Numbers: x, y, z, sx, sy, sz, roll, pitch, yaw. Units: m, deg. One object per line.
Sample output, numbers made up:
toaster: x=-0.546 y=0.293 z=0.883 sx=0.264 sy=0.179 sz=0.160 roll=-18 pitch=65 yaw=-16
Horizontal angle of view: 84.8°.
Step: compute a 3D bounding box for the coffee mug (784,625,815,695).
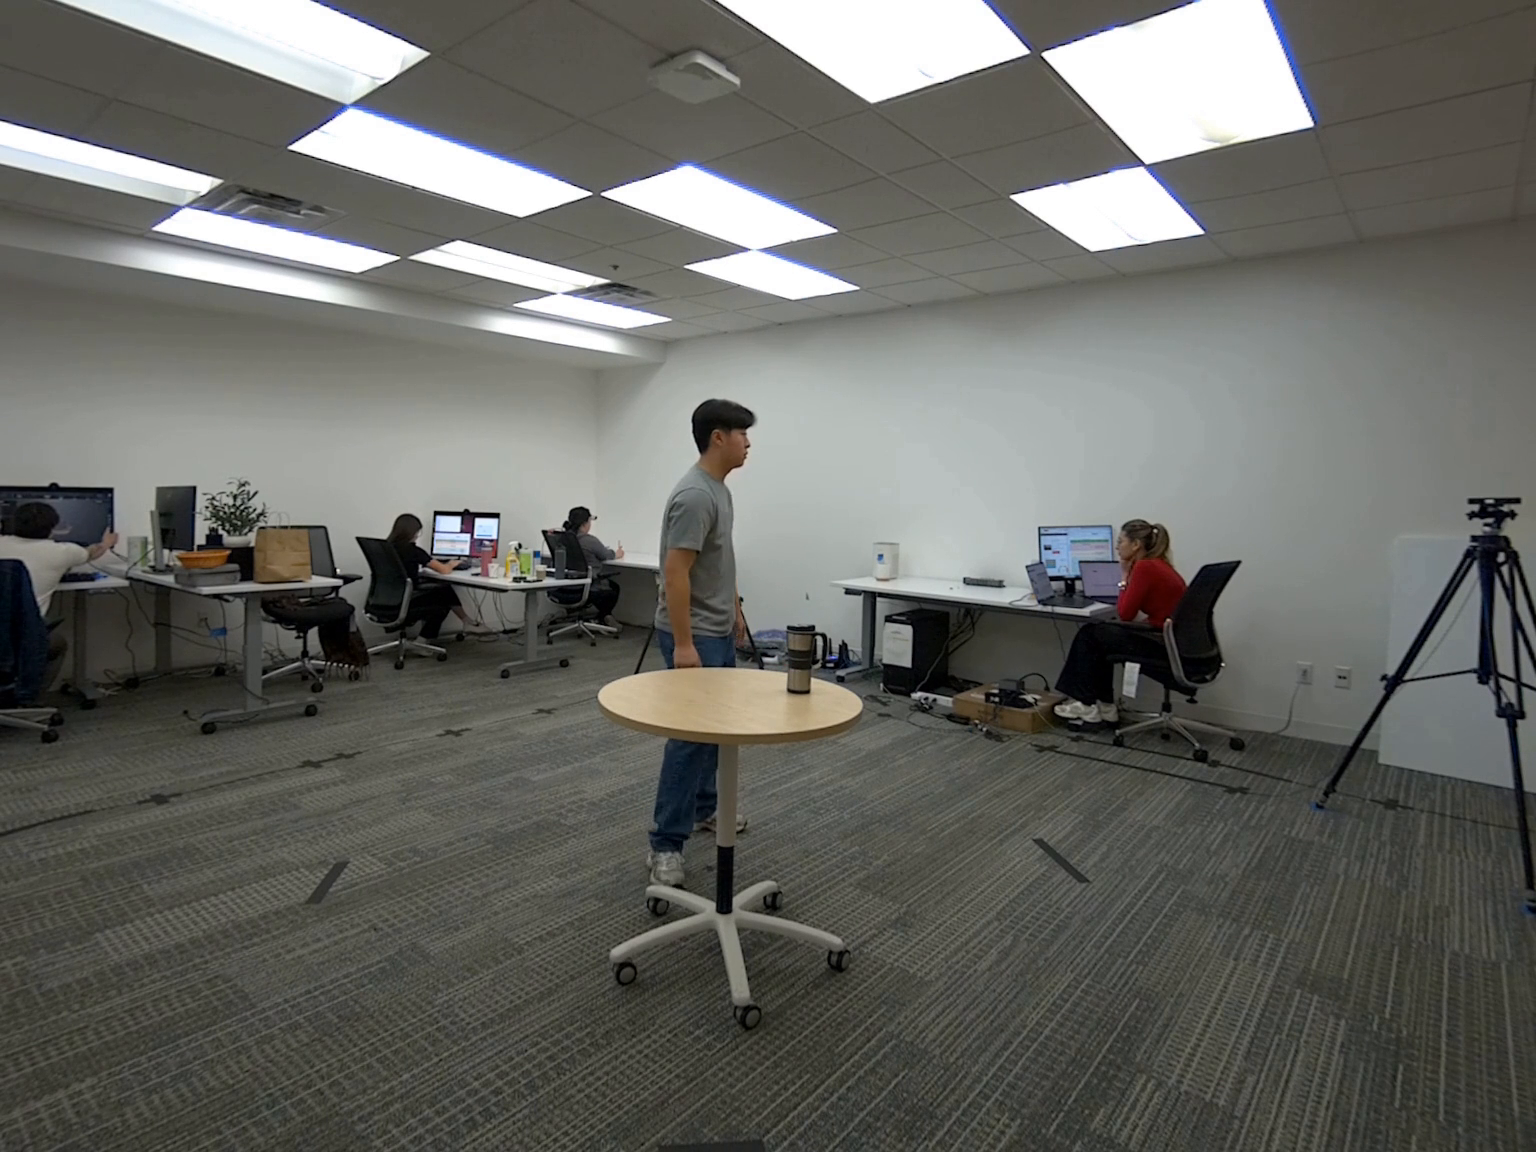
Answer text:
coffee mug: x=0.108 y=0.247 z=2.535 sx=0.126 sy=0.203 sz=0.085 roll=2 pitch=1 yaw=36
